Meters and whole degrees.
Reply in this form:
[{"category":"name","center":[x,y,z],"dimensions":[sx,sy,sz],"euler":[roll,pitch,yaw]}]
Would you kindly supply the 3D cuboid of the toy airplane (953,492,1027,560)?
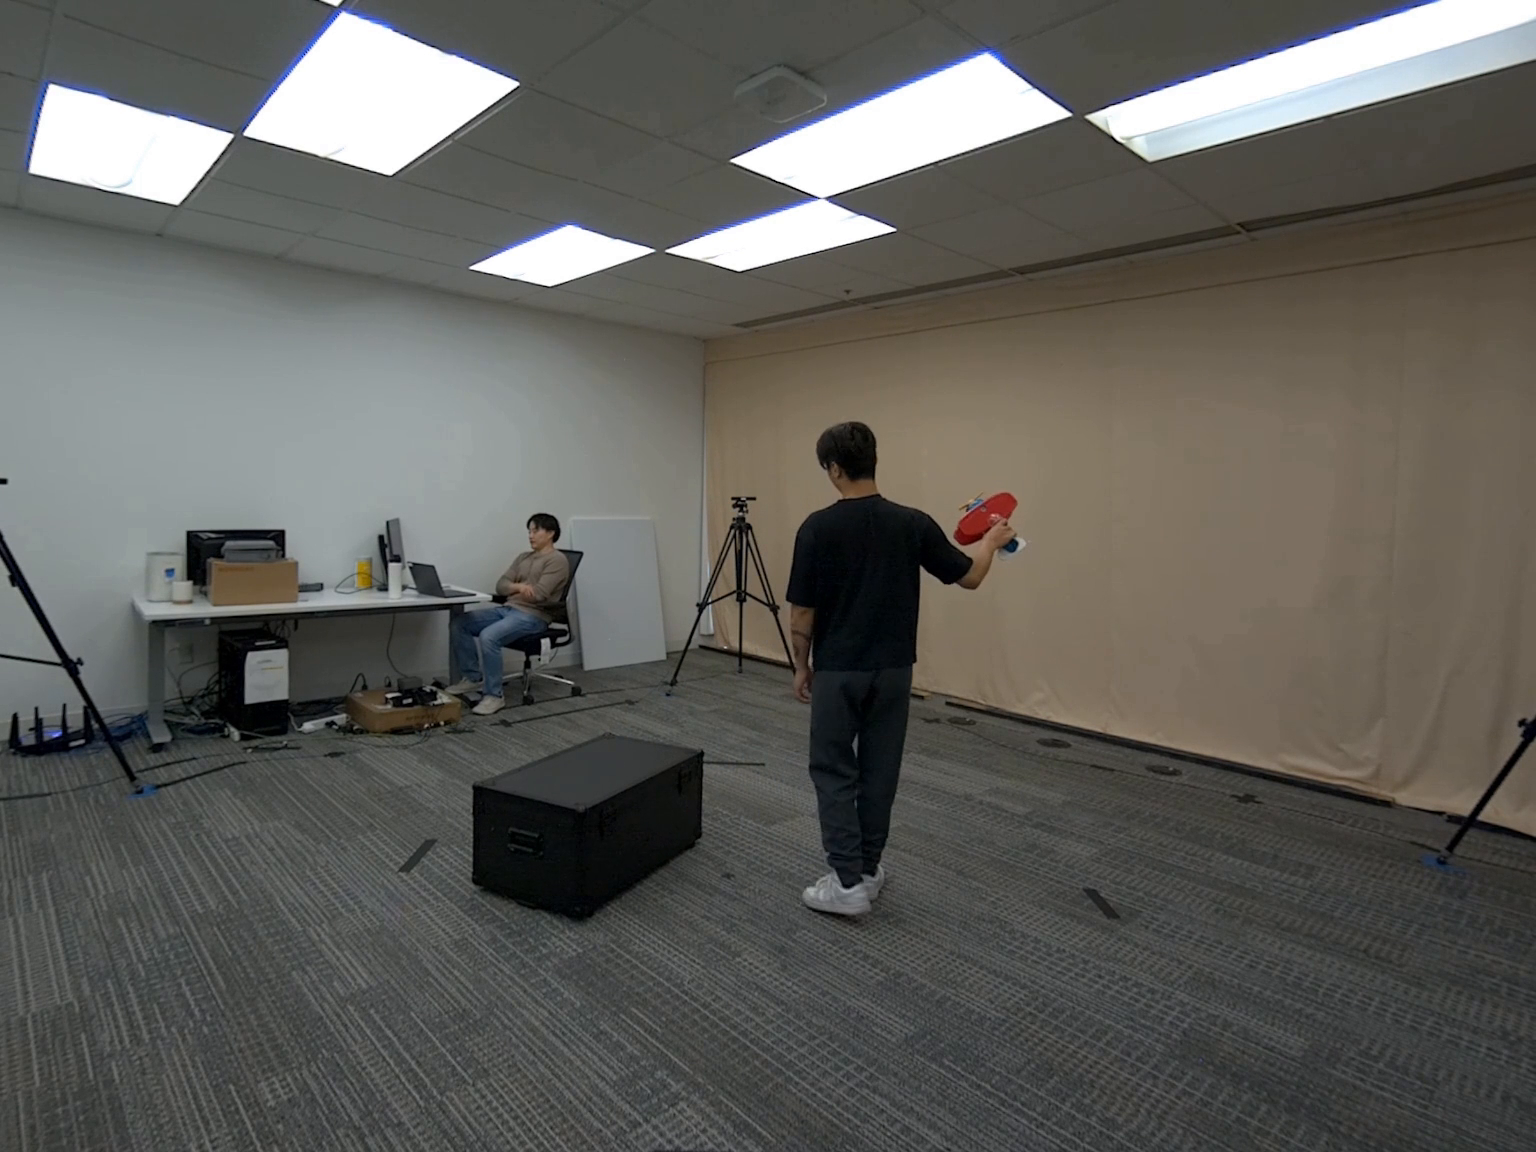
[{"category":"toy airplane","center":[0.844,-0.191,3.171],"dimensions":[0.265,0.252,0.152],"euler":[20,-28,23]}]
